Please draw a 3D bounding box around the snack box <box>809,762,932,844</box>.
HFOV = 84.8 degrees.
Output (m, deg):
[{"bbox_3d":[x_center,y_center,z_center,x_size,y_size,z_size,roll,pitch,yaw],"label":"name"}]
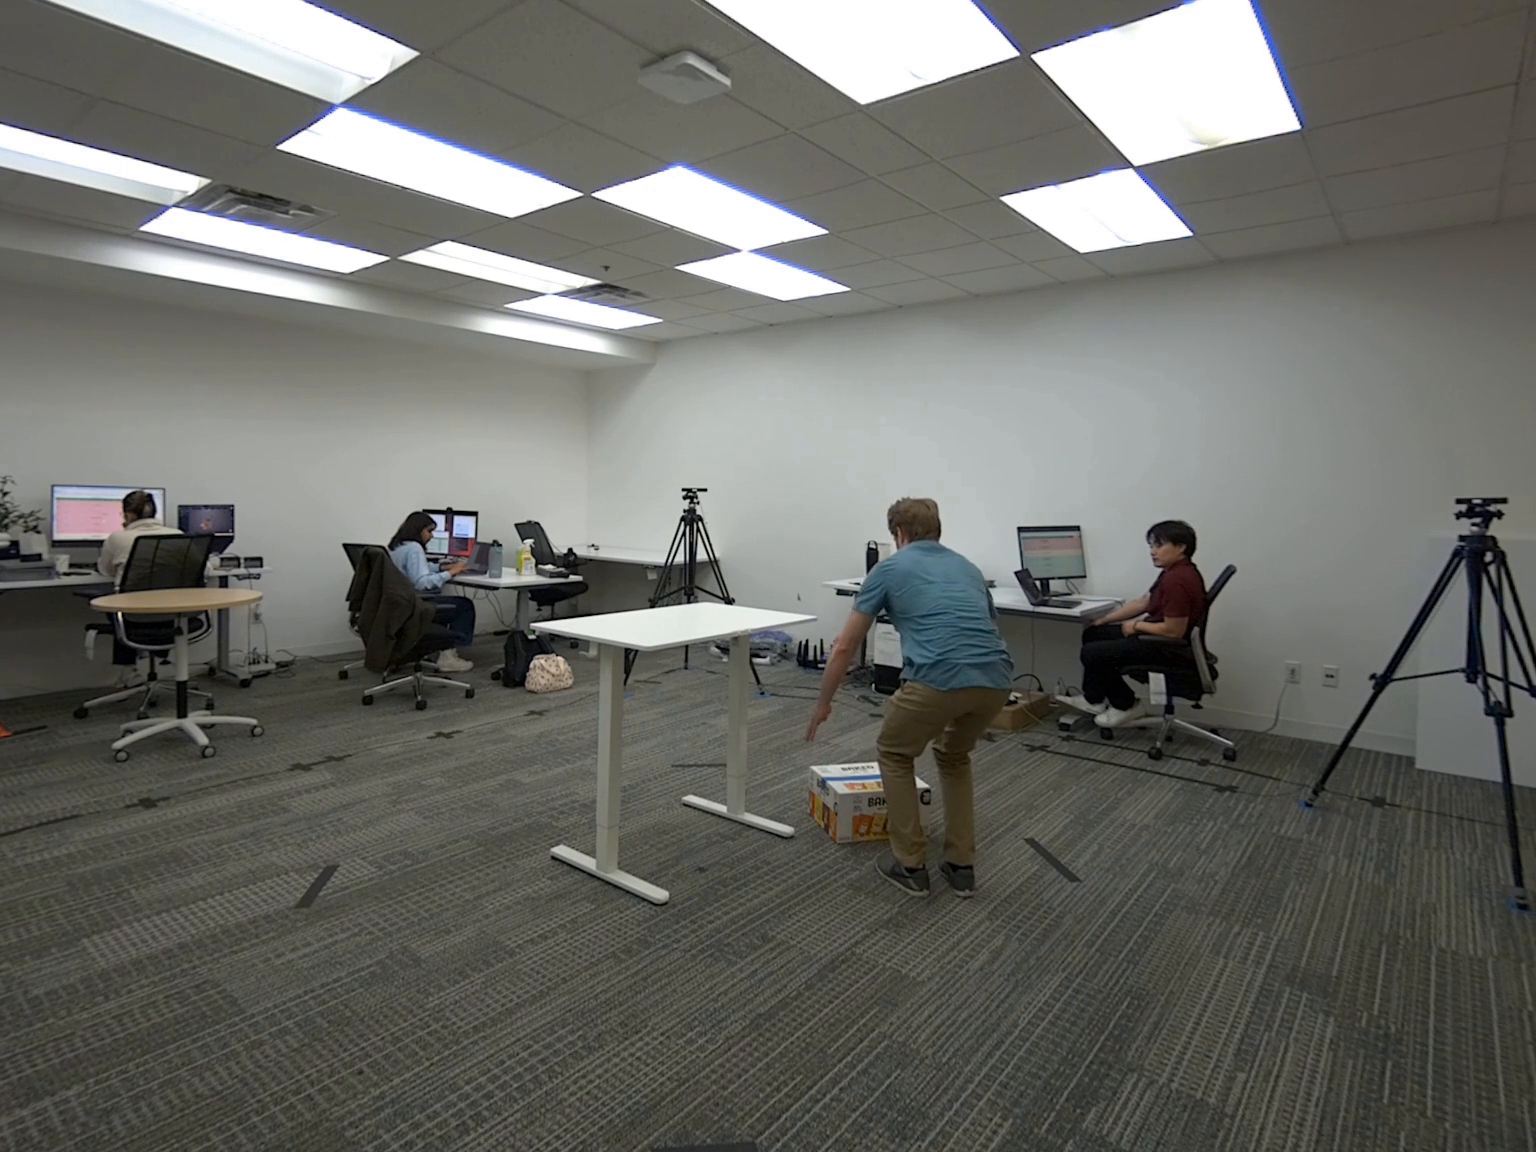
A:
[{"bbox_3d":[0.409,0.936,3.565,0.399,0.205,0.347,0,5,-16],"label":"snack box"}]
